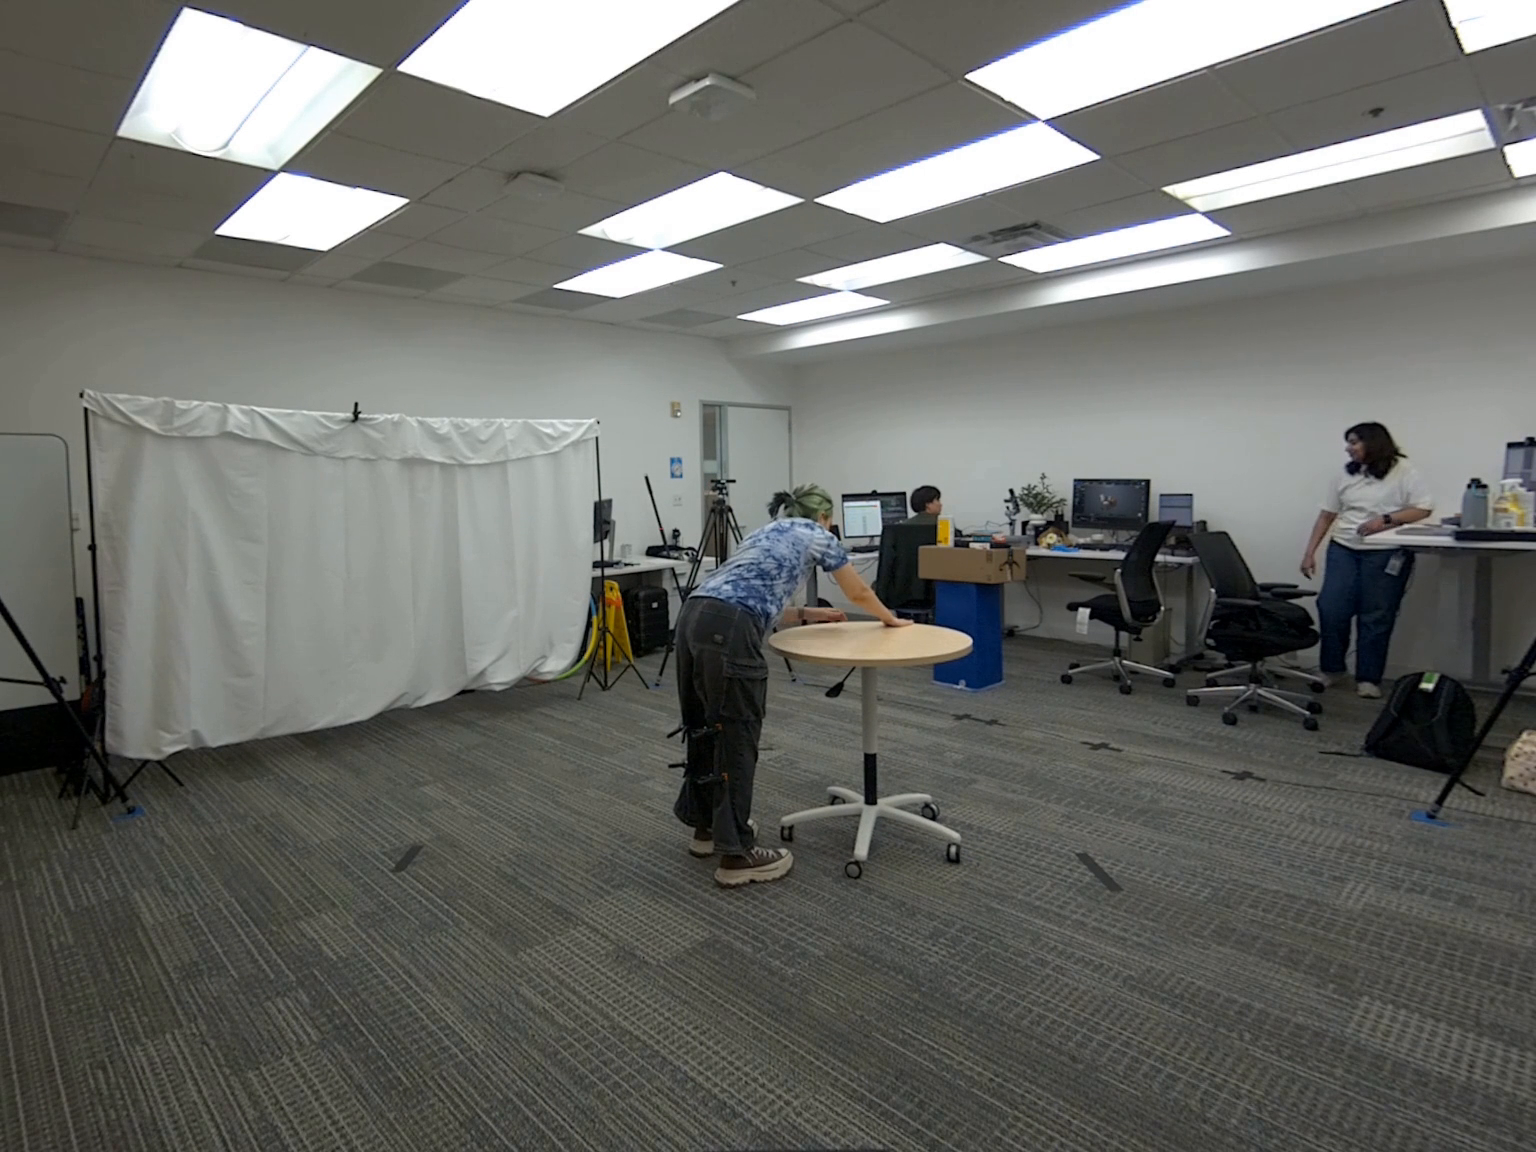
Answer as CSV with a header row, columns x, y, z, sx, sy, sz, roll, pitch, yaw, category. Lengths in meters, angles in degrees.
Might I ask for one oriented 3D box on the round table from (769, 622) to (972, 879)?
x,y,z,sx,sy,sz,roll,pitch,yaw,category
0.395,0.633,3.289,0.763,0.791,0.768,-1,5,-2,round table
